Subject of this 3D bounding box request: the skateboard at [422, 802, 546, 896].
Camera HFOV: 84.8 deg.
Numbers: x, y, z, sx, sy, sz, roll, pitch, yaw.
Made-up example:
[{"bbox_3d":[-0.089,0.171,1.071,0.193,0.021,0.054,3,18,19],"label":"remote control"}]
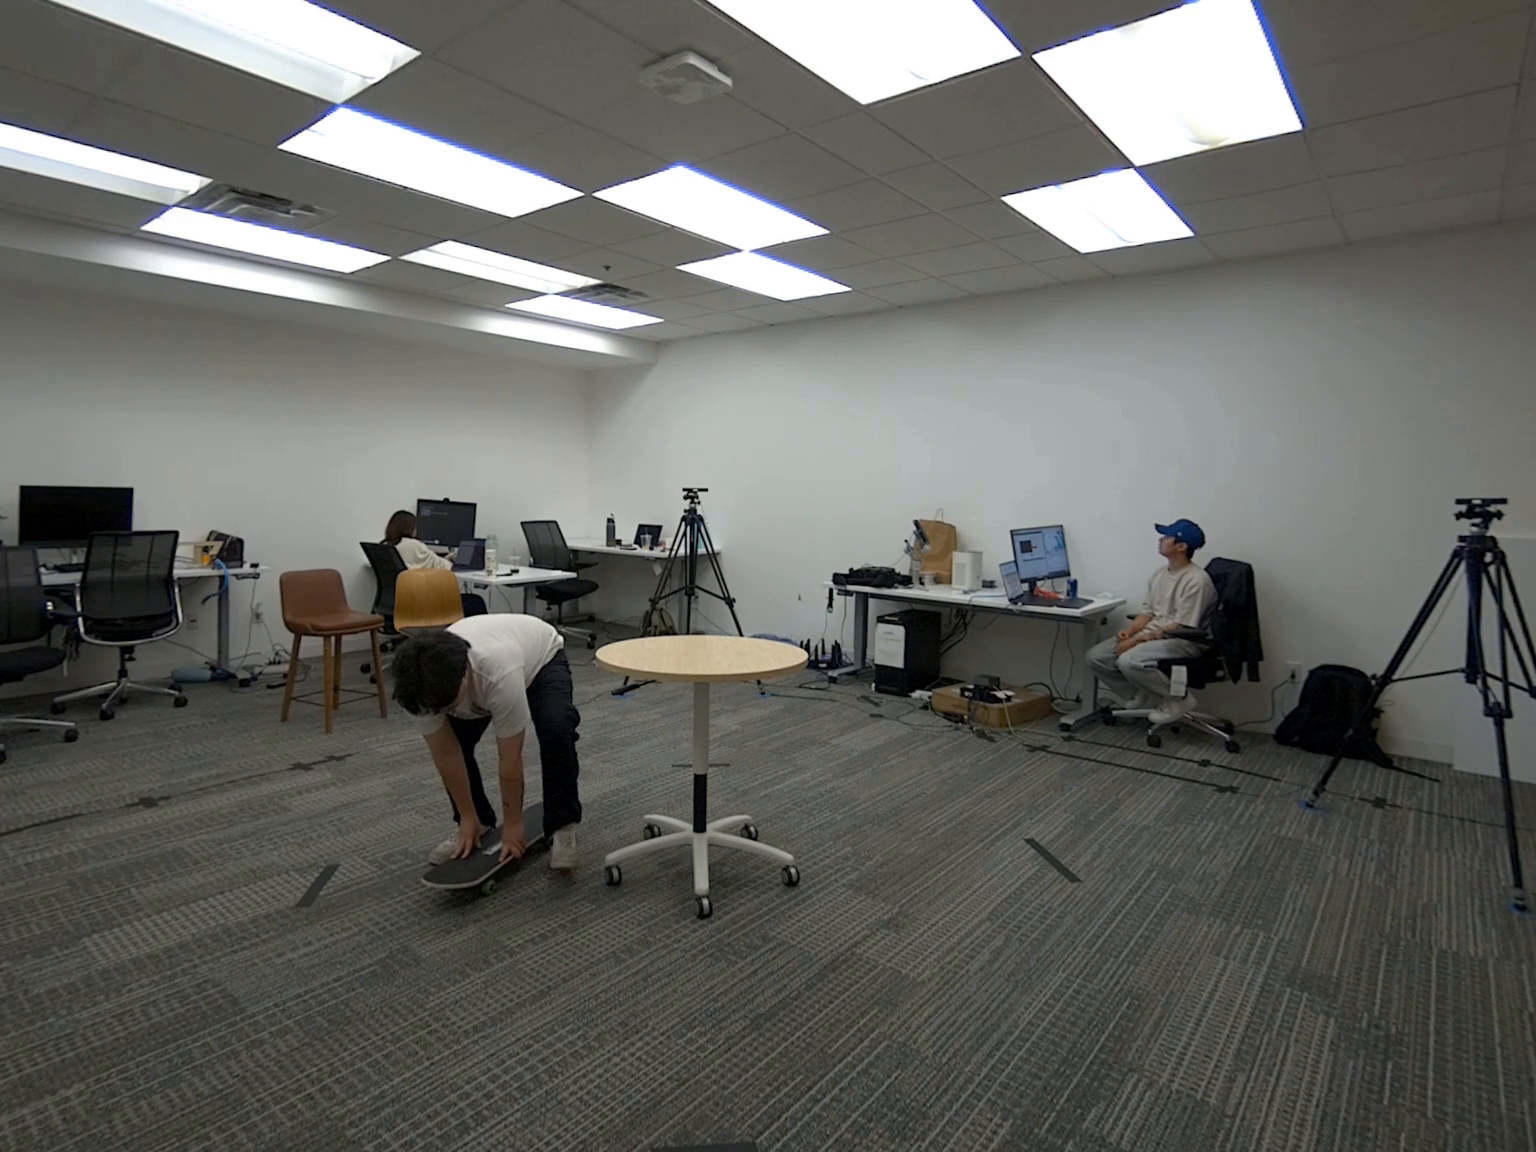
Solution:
[{"bbox_3d":[-0.969,1.001,3.100,0.197,0.110,0.773,3,6,16],"label":"skateboard"}]
